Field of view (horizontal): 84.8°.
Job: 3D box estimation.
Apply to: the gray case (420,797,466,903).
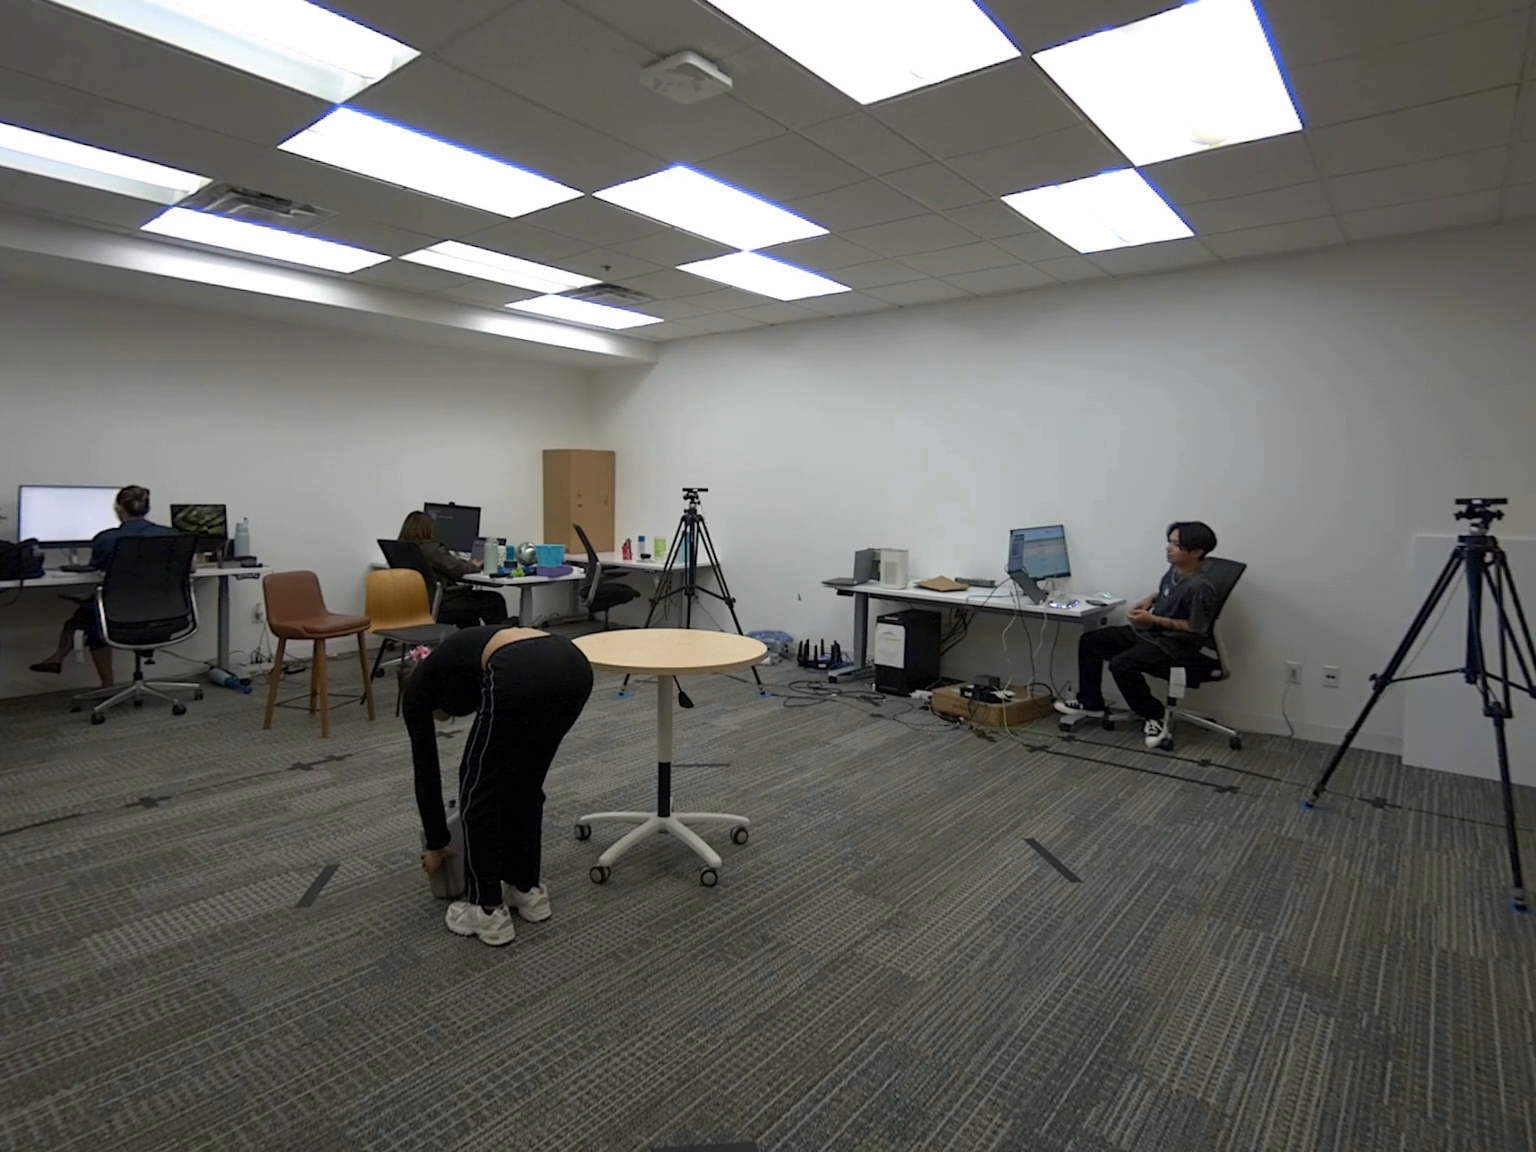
[{"bbox_3d":[-1.096,0.938,2.942,0.105,0.260,0.256,-9,2,6],"label":"gray case"}]
